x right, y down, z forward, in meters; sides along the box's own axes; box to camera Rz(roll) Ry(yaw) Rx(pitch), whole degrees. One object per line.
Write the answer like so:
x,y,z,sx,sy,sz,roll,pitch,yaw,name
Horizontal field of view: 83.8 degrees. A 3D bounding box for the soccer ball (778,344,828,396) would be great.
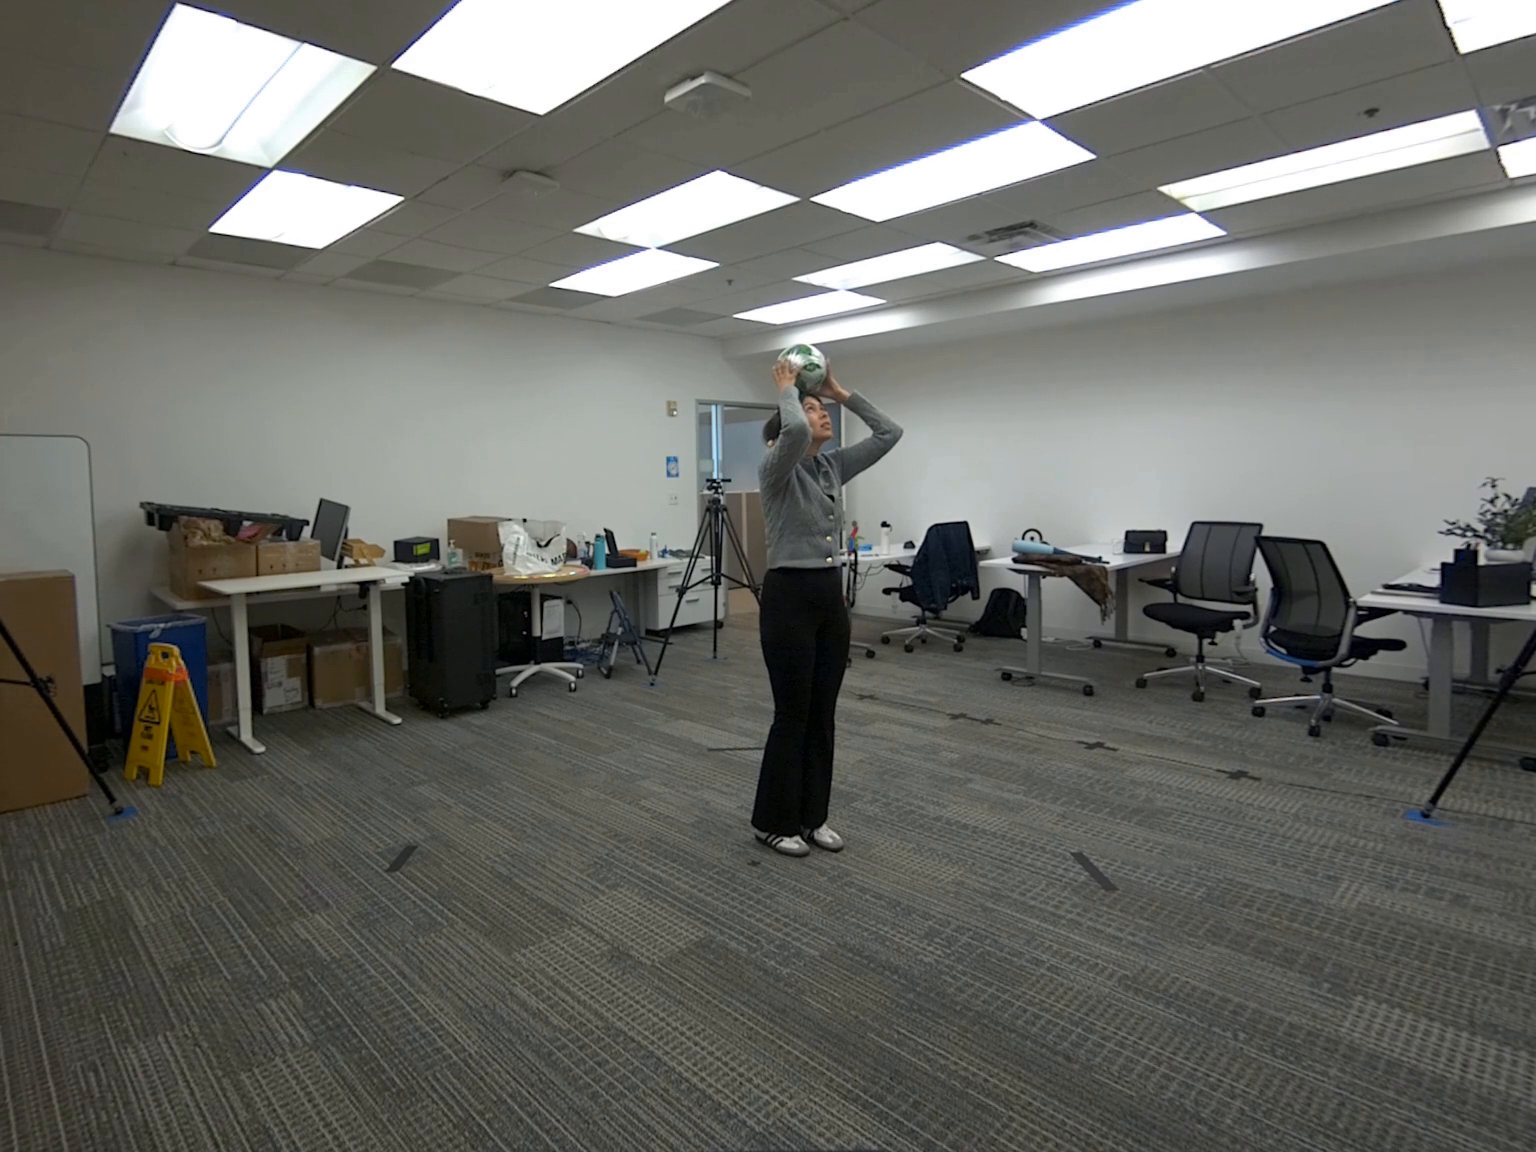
0.125,-0.765,3.164,0.187,0.187,0.188,-1,5,-2,soccer ball
